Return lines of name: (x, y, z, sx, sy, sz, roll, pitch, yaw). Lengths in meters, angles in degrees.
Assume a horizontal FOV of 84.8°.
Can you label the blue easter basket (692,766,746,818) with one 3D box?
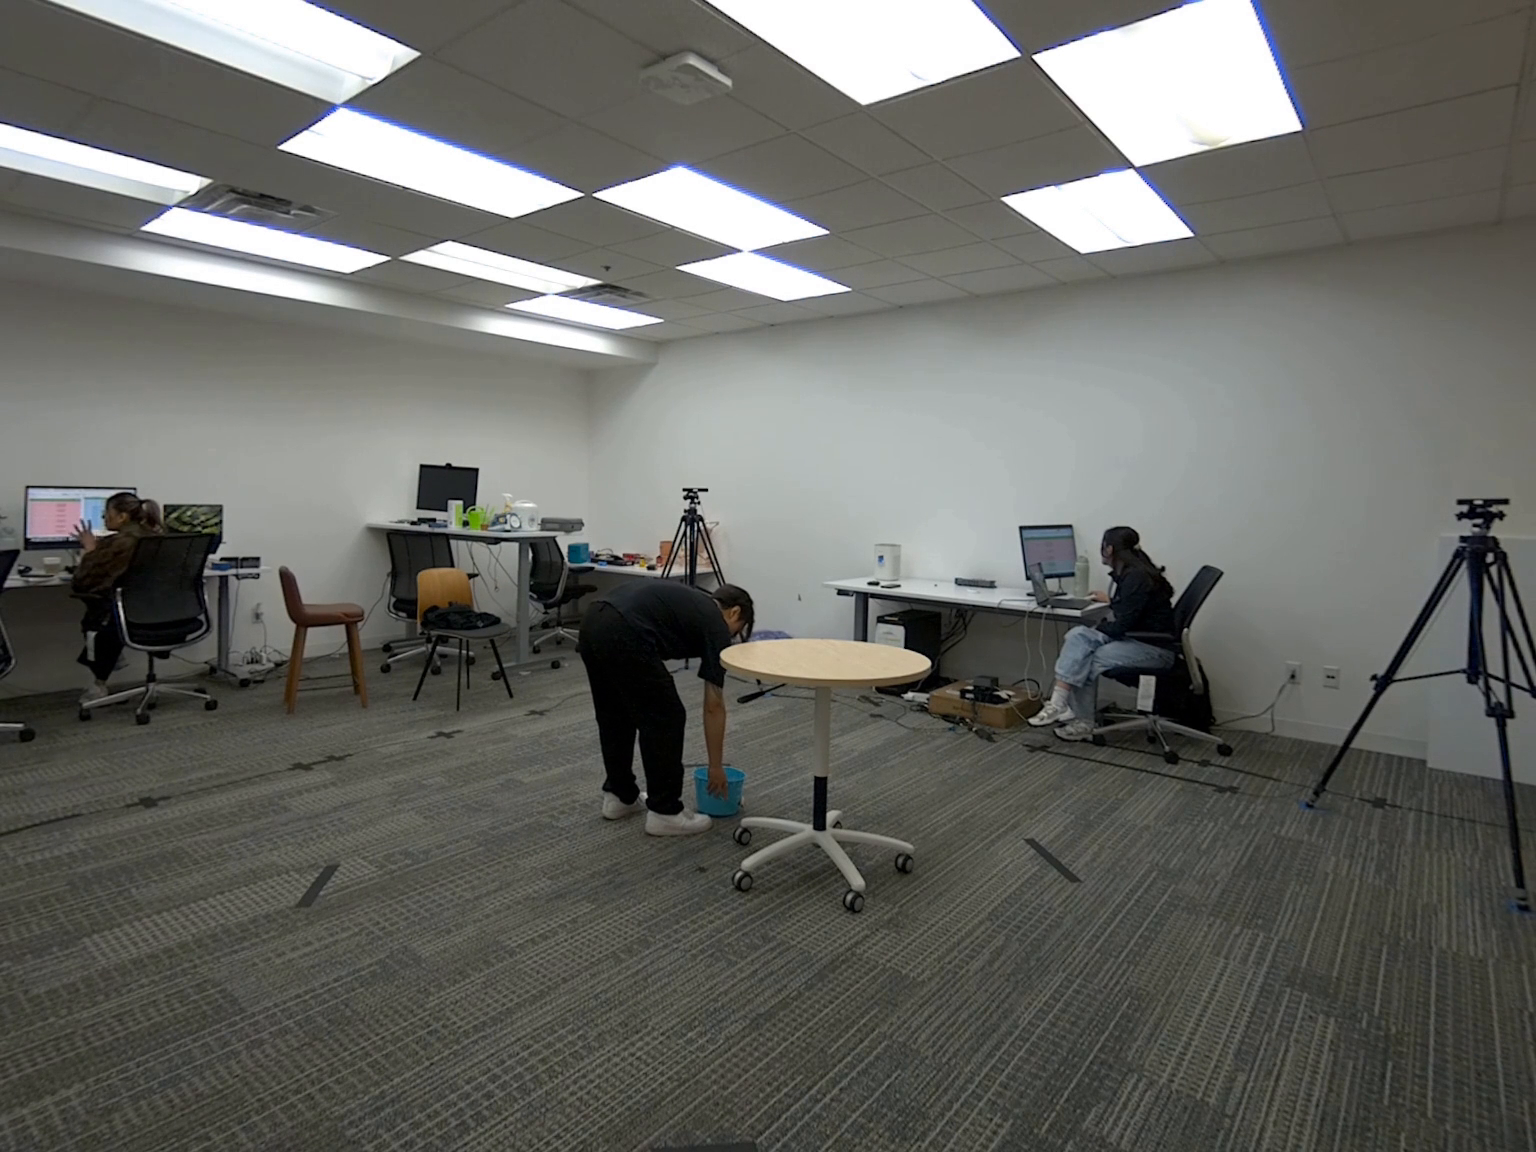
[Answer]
blue easter basket: (-0.227, 0.930, 3.690, 0.243, 0.156, 0.244, 3, 2, -2)
